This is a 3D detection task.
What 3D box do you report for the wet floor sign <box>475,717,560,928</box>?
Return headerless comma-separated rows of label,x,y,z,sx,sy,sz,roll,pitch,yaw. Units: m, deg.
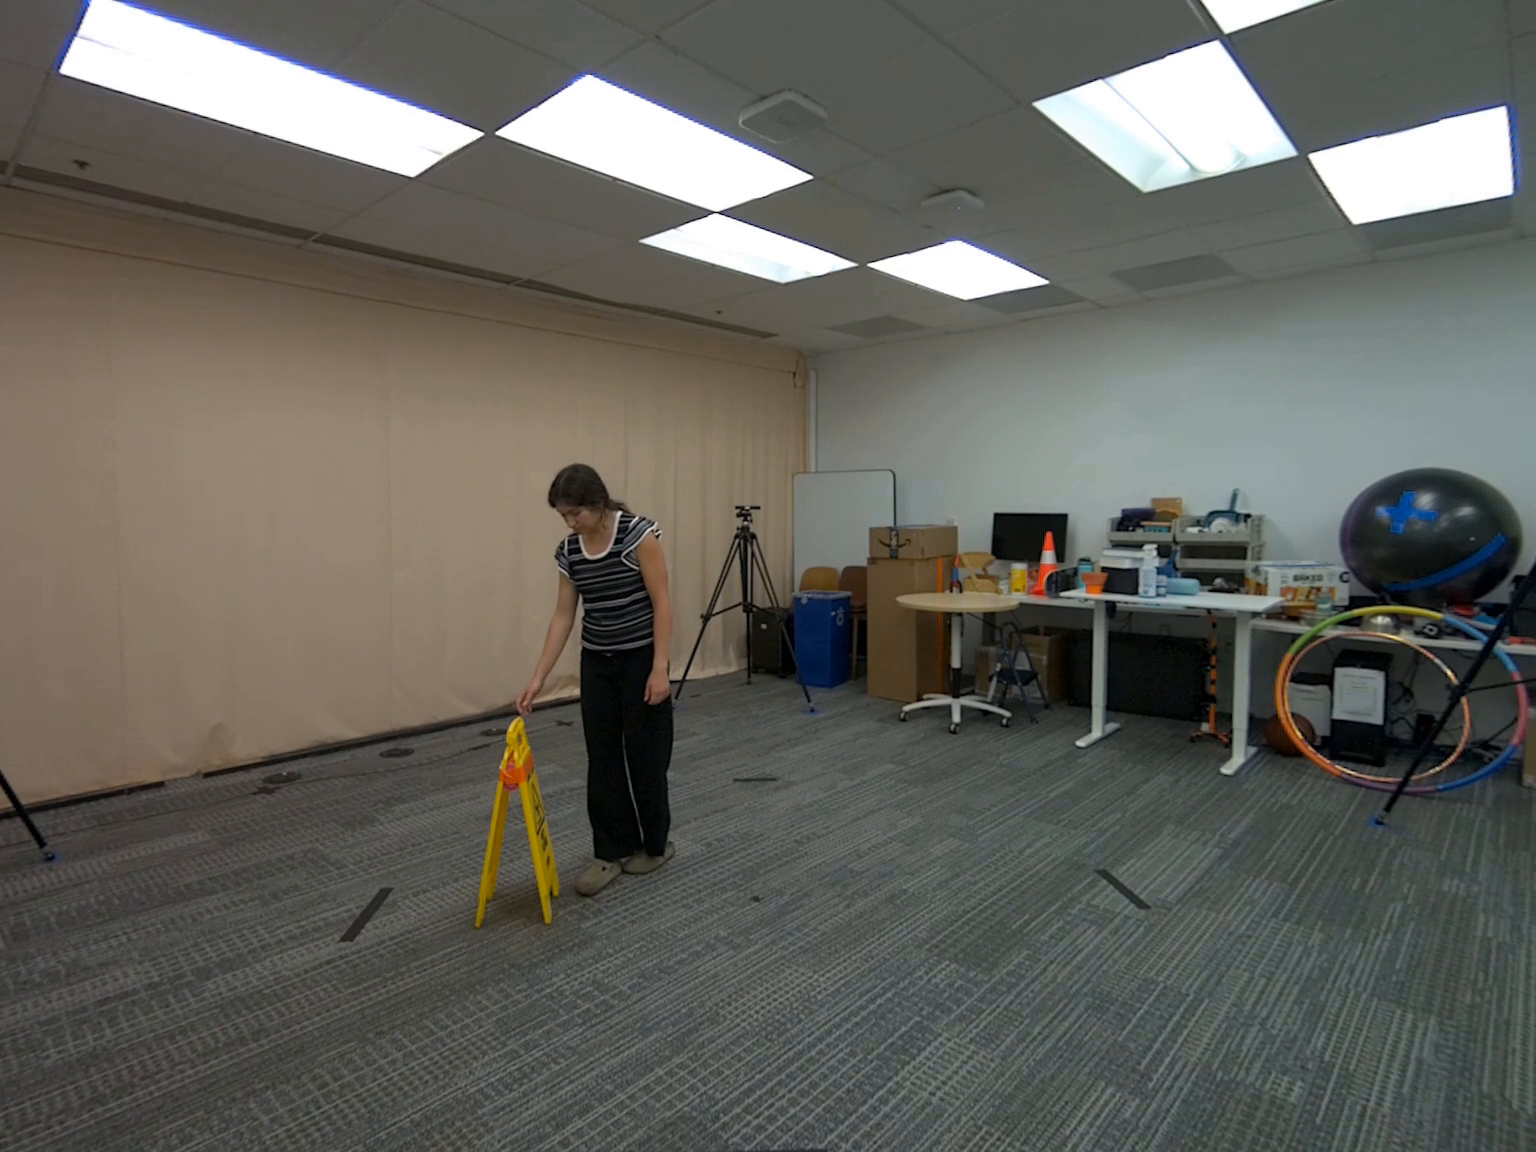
wet floor sign,-0.875,0.831,2.916,0.288,0.645,0.284,-1,1,-7
